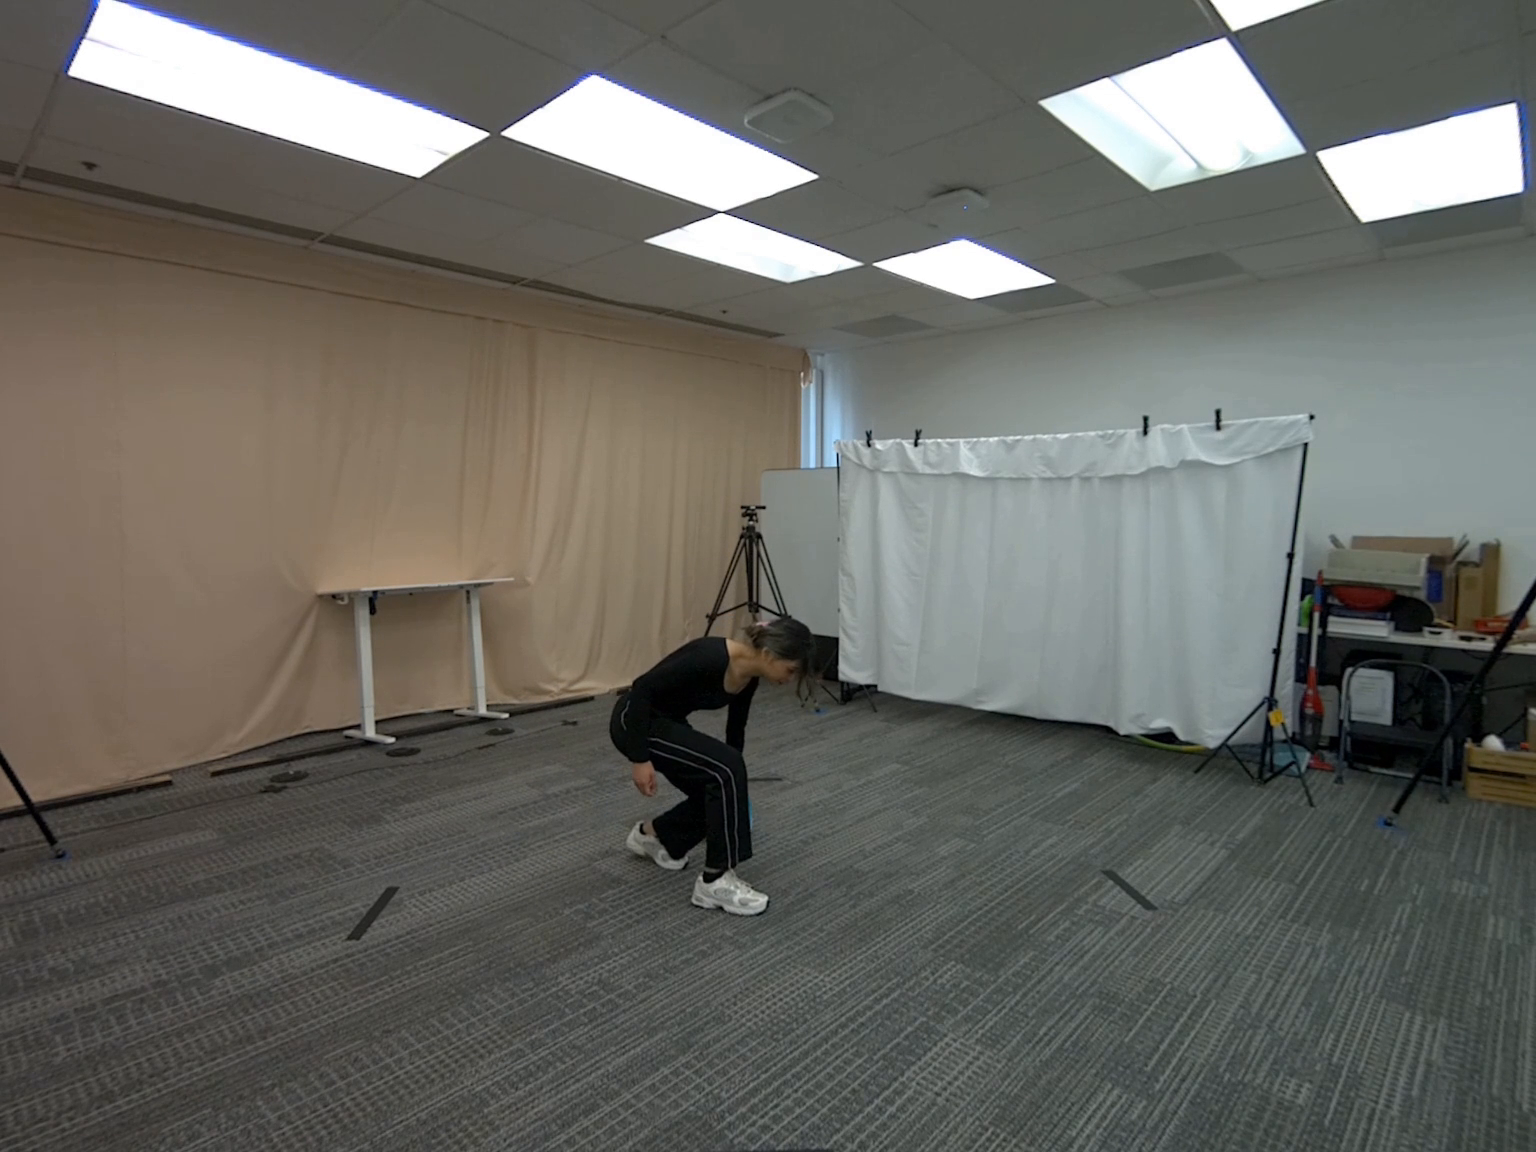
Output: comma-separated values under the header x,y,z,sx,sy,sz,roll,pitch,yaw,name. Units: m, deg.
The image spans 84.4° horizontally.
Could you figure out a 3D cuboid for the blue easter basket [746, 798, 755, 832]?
x,y,z,sx,sy,sz,roll,pitch,yaw,name
-0.175,0.987,3.540,0.159,0.244,0.238,-11,-1,25,blue easter basket
